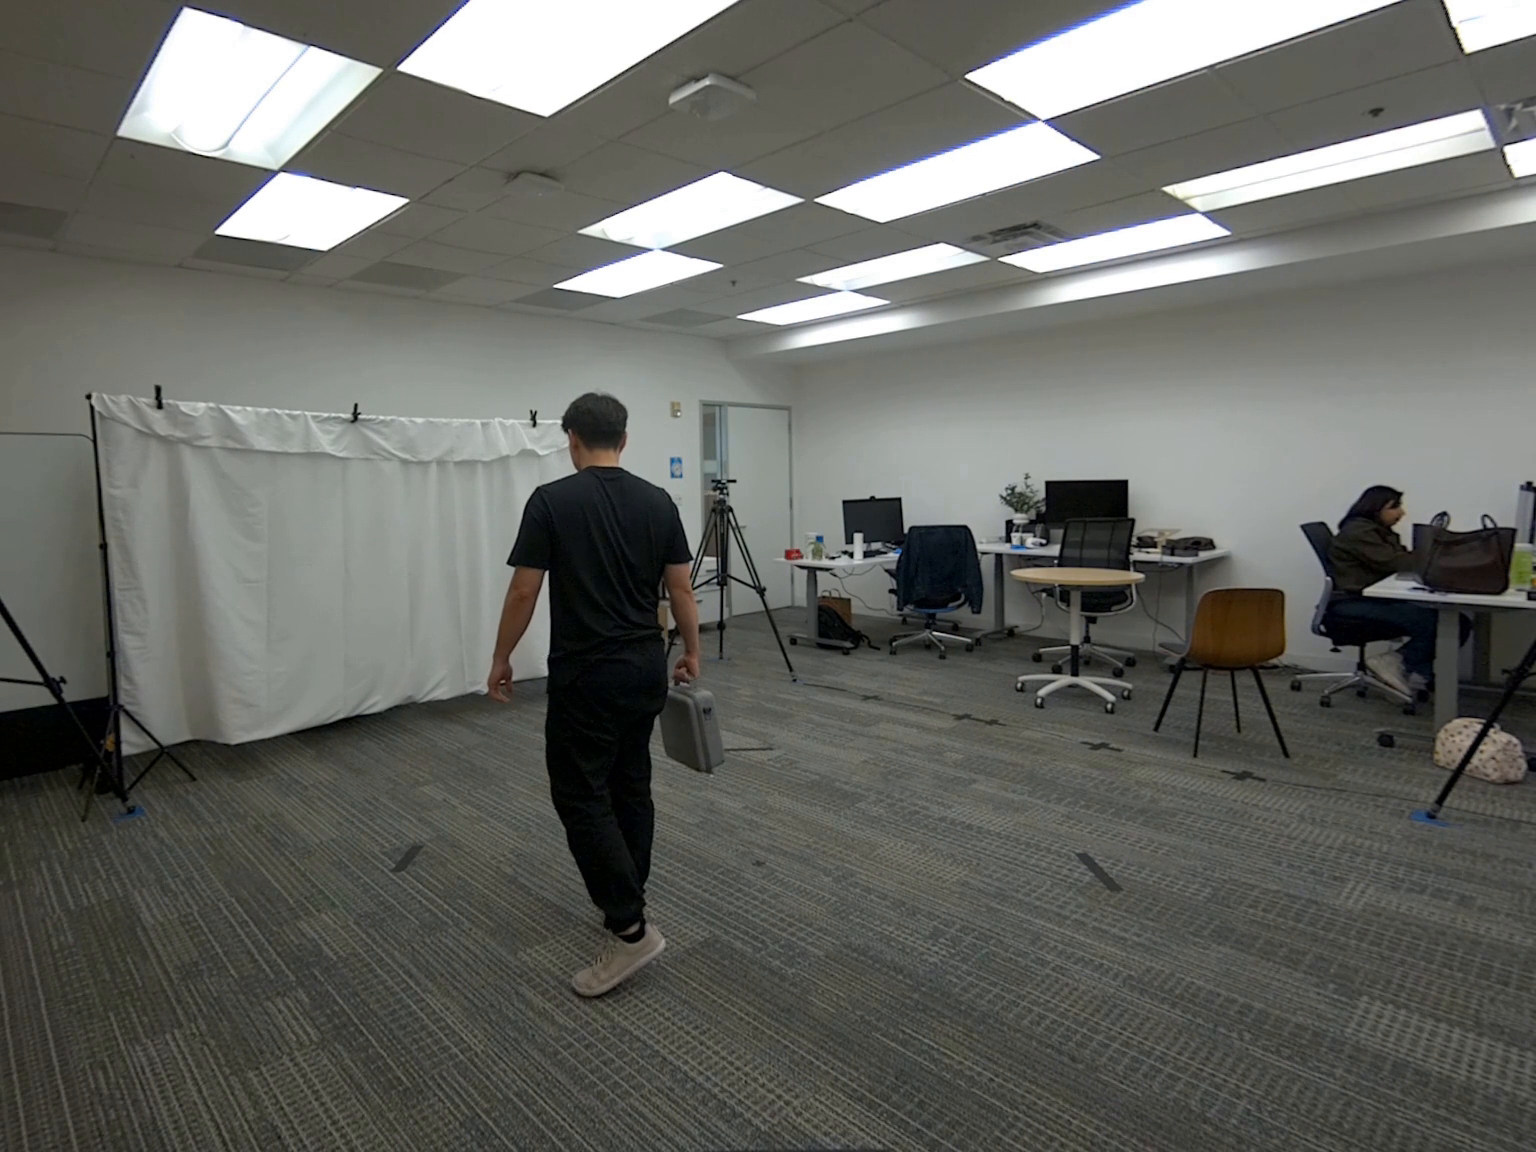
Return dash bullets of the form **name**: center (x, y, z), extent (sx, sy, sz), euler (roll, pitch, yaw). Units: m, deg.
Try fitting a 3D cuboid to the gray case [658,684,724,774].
- **gray case**: center (-0.263, 0.482, 2.796), extent (0.102, 0.259, 0.264), euler (-11, 8, -29)
